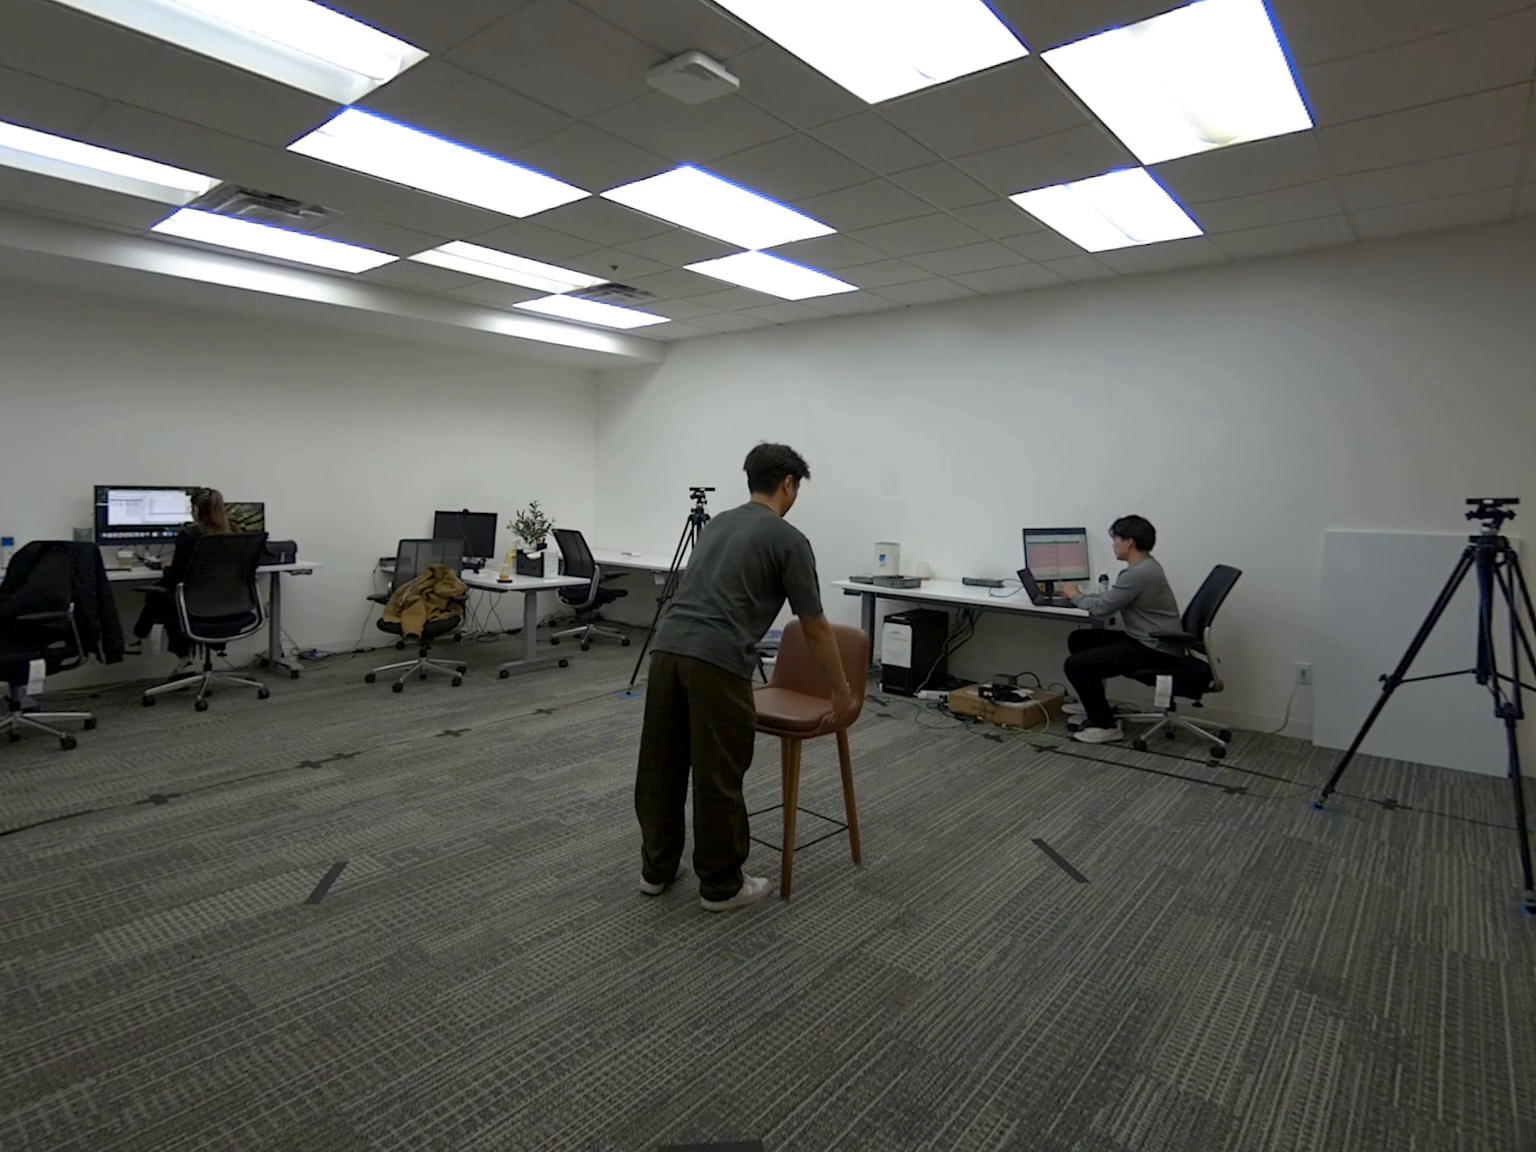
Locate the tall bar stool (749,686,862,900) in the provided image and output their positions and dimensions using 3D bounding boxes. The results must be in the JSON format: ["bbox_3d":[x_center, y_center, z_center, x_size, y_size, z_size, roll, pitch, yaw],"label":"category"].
[{"bbox_3d":[0.070,0.625,3.154,0.472,0.889,0.452,4,2,45],"label":"tall bar stool"}]
